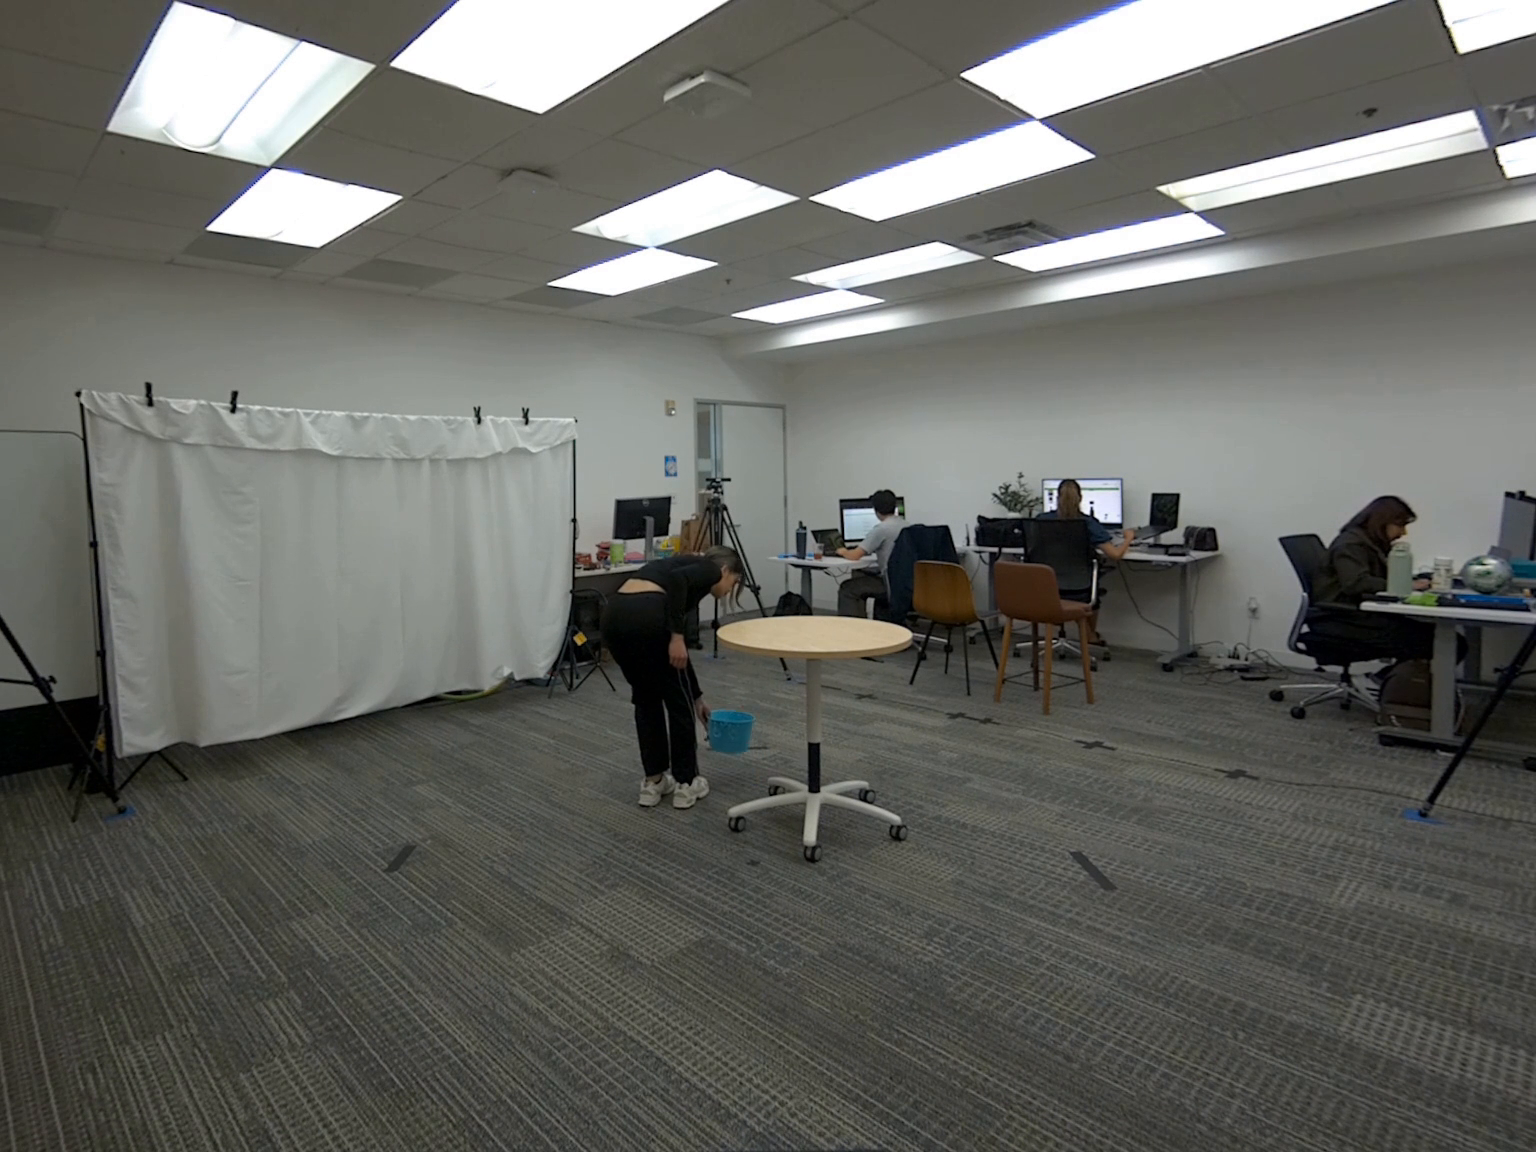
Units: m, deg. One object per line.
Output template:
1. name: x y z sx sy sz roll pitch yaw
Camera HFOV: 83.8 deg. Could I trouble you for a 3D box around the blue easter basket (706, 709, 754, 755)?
1. blue easter basket: -0.189 0.725 4.004 0.243 0.155 0.244 2 3 -2
